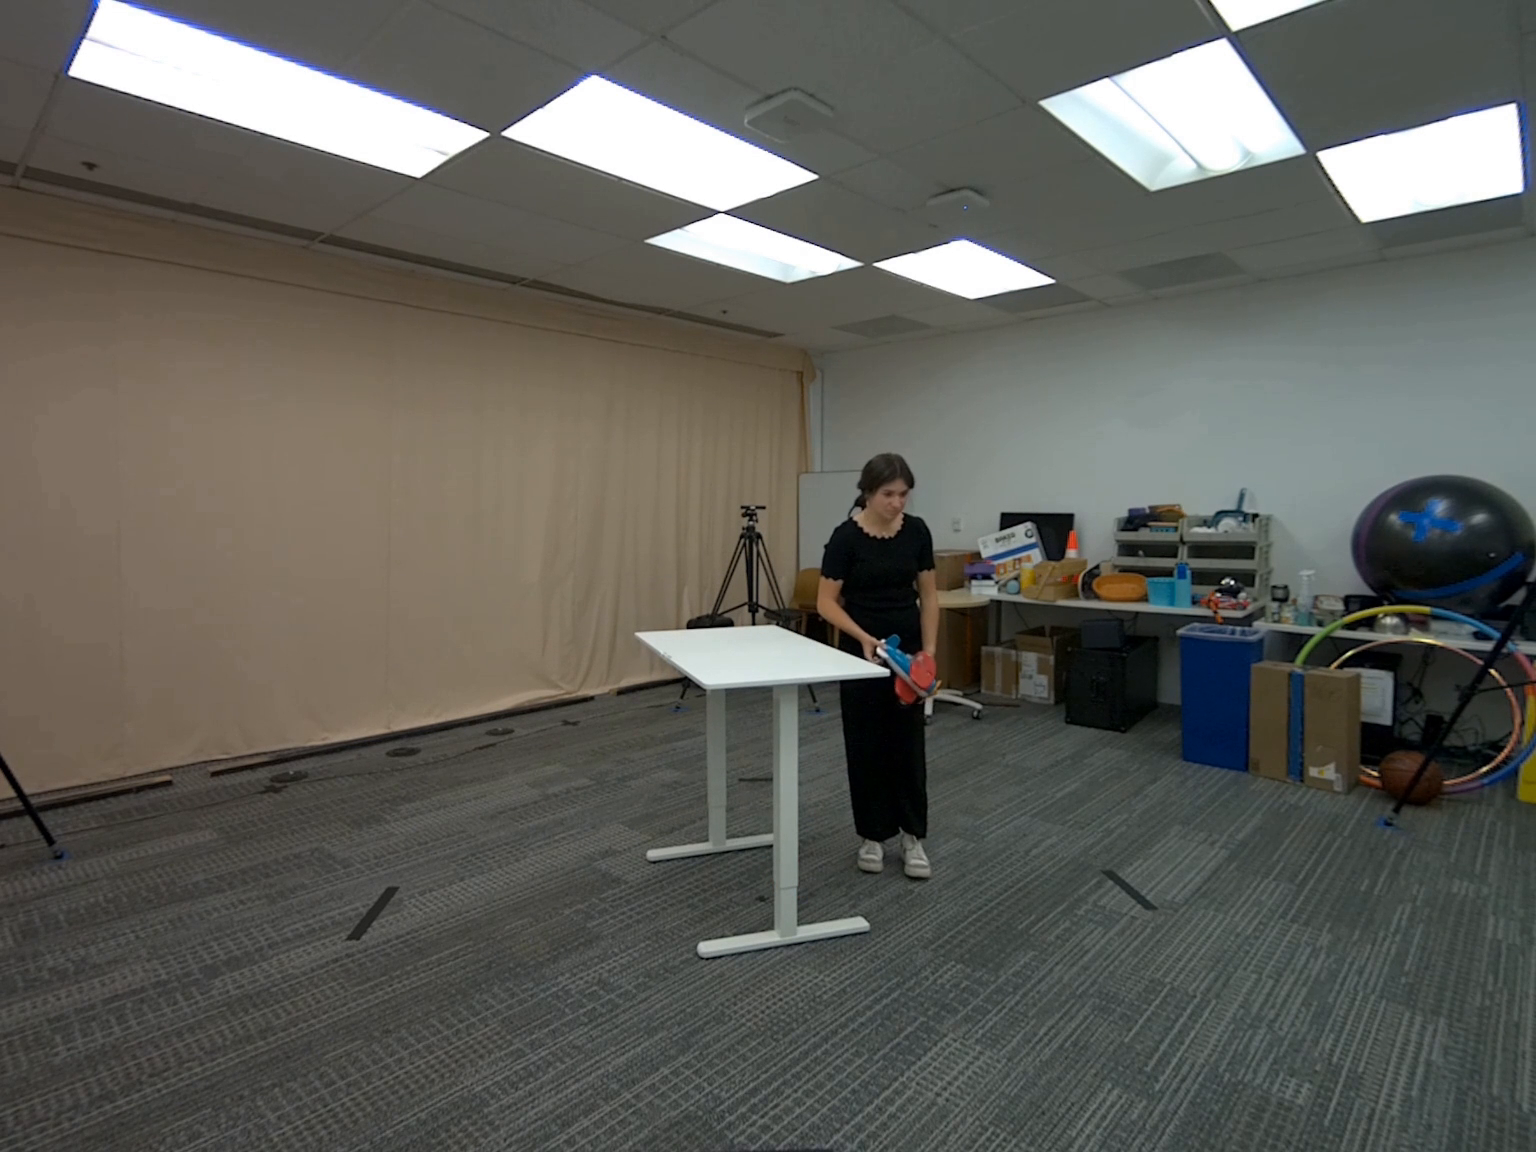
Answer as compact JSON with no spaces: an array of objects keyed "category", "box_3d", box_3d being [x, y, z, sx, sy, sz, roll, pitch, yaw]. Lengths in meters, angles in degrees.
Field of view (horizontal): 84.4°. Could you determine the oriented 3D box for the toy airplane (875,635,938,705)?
[{"category":"toy airplane","box_3d":[0.496,0.337,3.017,0.158,0.252,0.255,-33,31,25]}]
